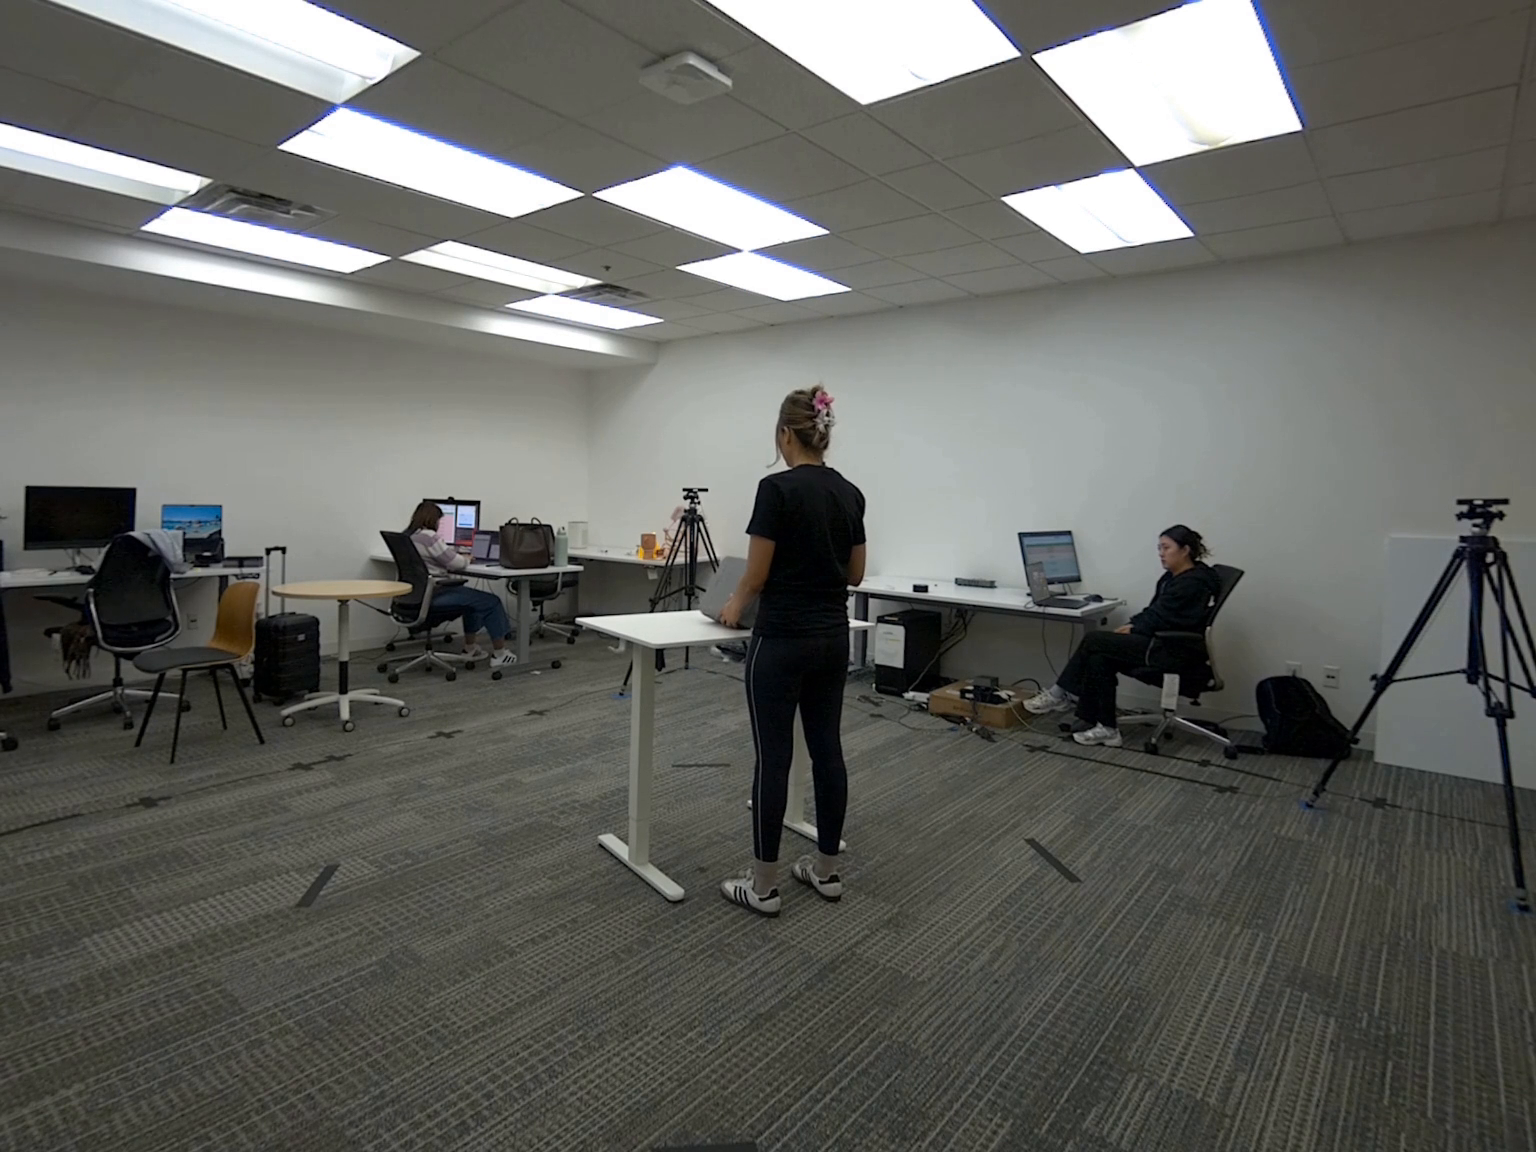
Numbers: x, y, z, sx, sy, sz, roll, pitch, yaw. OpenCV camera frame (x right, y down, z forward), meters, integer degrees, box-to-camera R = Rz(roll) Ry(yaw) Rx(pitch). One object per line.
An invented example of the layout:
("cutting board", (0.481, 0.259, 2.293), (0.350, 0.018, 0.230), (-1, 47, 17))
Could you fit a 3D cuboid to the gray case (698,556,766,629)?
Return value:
("gray case", (-0.119, 0.054, 3.199), (0.270, 0.258, 0.100), (9, -24, 49))
